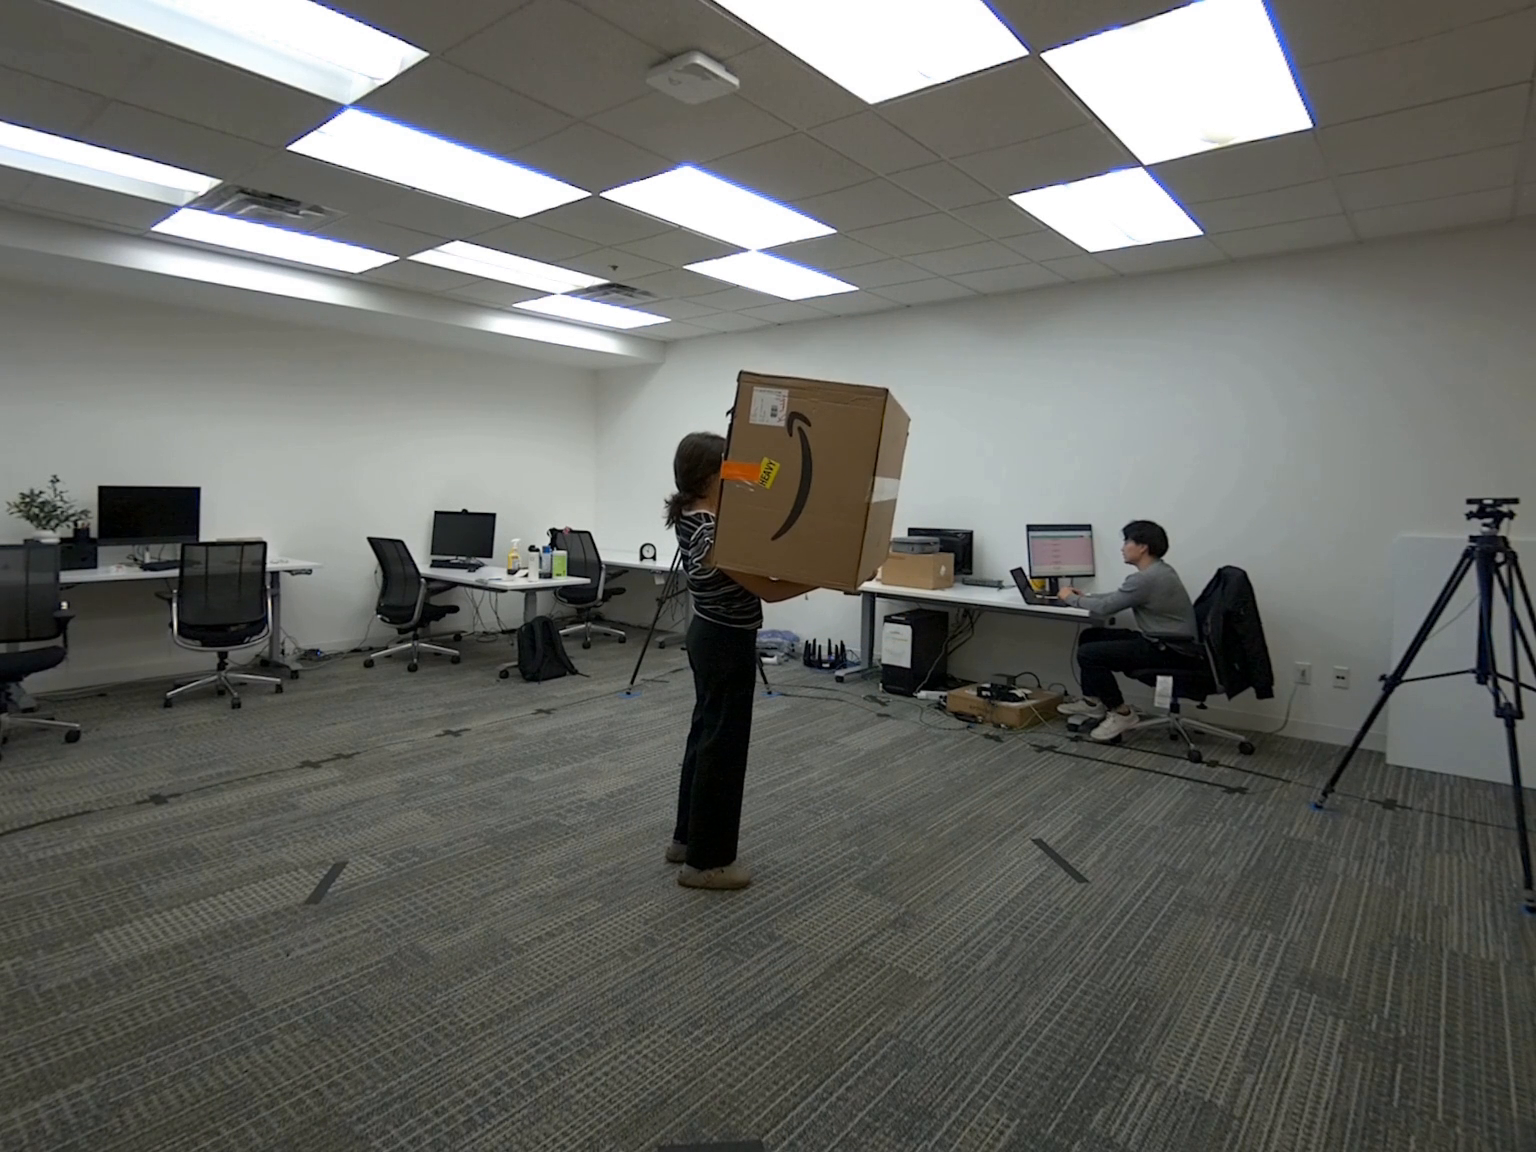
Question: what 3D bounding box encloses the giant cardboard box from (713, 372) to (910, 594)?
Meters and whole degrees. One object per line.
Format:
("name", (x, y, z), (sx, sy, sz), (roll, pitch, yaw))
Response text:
("giant cardboard box", (0.179, -0.325, 2.870), (0.433, 0.574, 1.014), (10, 7, 12))
